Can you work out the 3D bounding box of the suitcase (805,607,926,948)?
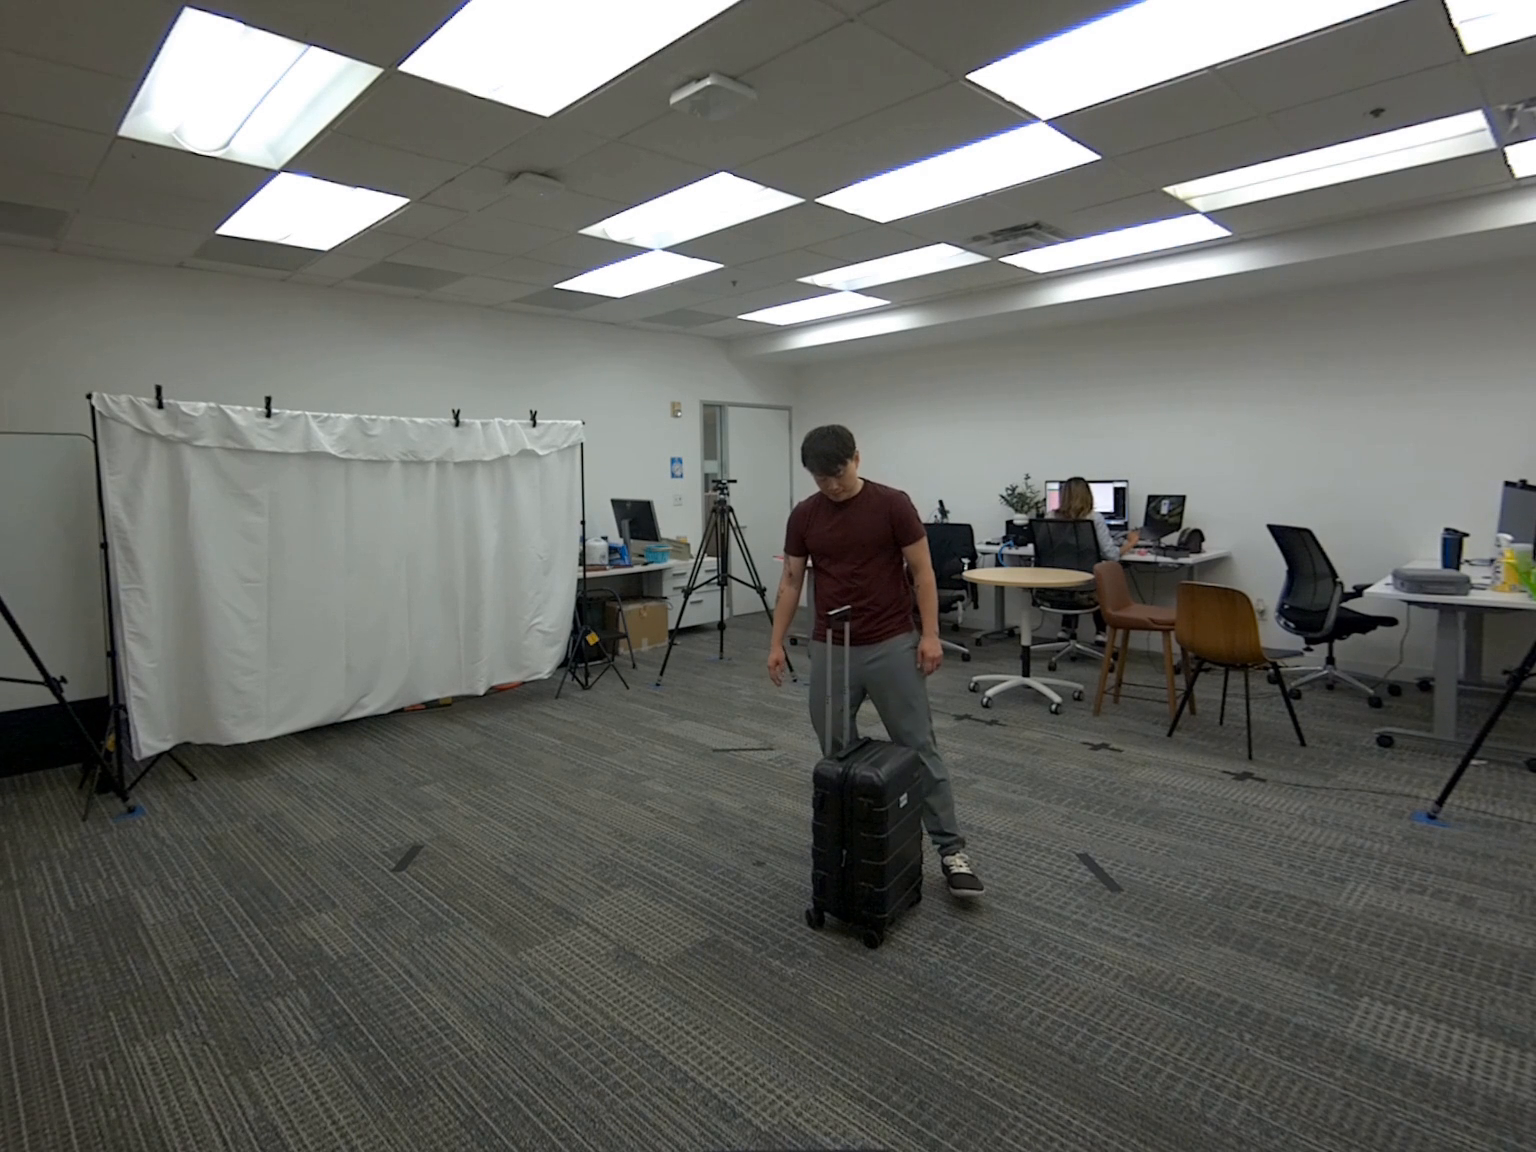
[{"bbox_3d":[0.323,0.613,2.683,0.264,0.974,0.375,5,6,31],"label":"suitcase"}]
